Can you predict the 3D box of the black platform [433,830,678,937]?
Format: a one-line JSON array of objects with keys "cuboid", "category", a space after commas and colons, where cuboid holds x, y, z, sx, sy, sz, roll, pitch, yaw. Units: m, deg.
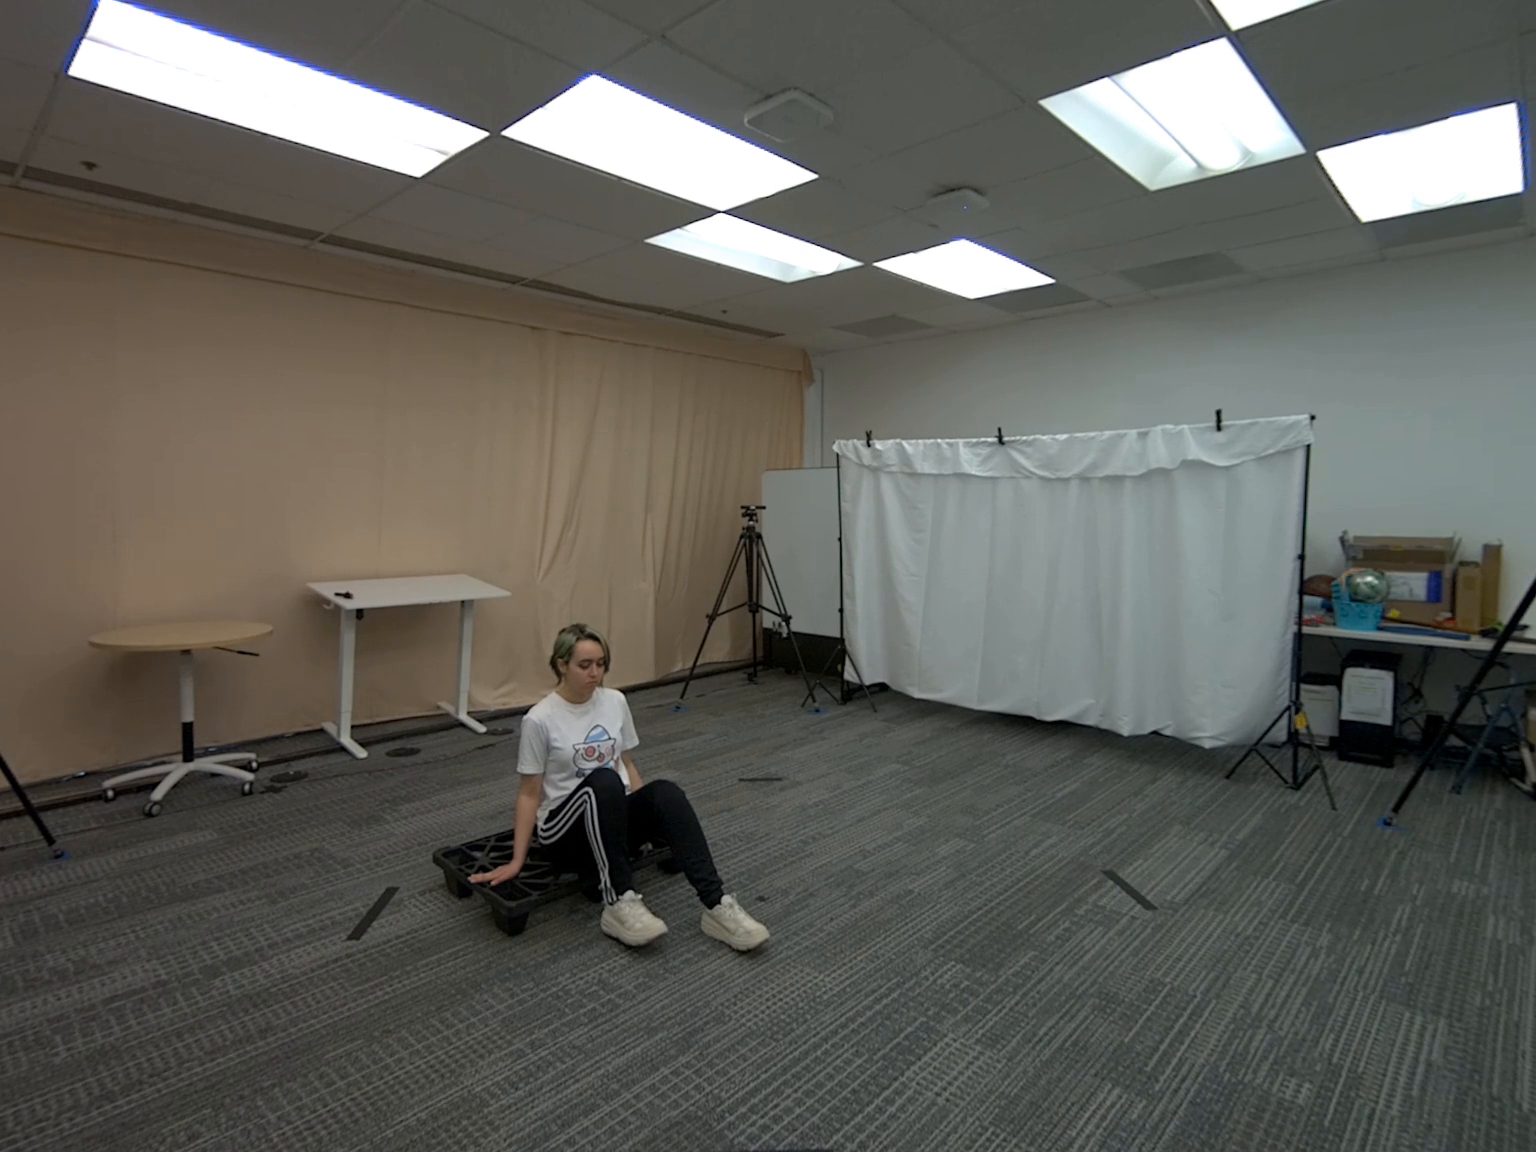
[{"cuboid": [-0.744, 1.071, 3.143, 0.781, 0.143, 0.625, -5, 7, -43], "category": "black platform"}]
